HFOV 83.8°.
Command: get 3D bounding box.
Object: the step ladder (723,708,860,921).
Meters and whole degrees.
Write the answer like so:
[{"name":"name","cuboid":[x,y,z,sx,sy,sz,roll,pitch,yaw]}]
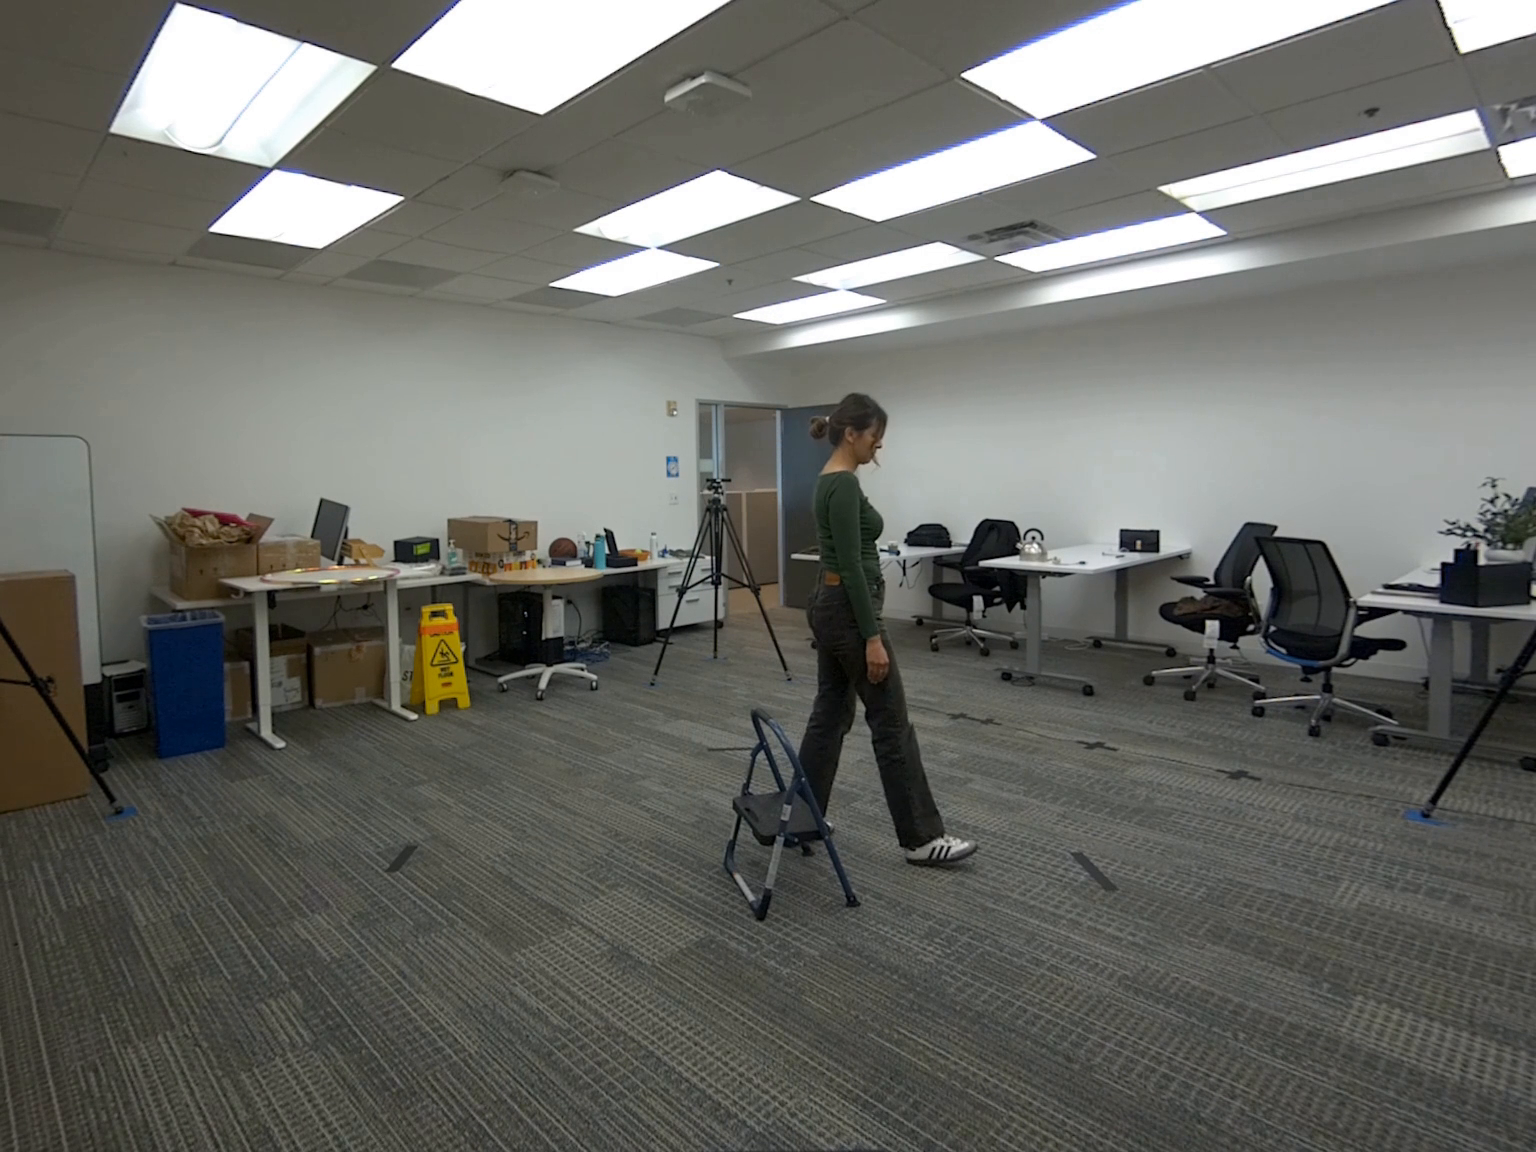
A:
[{"name":"step ladder","cuboid":[0.066,0.760,2.920,0.344,0.604,0.439,-2,4,-18]}]
